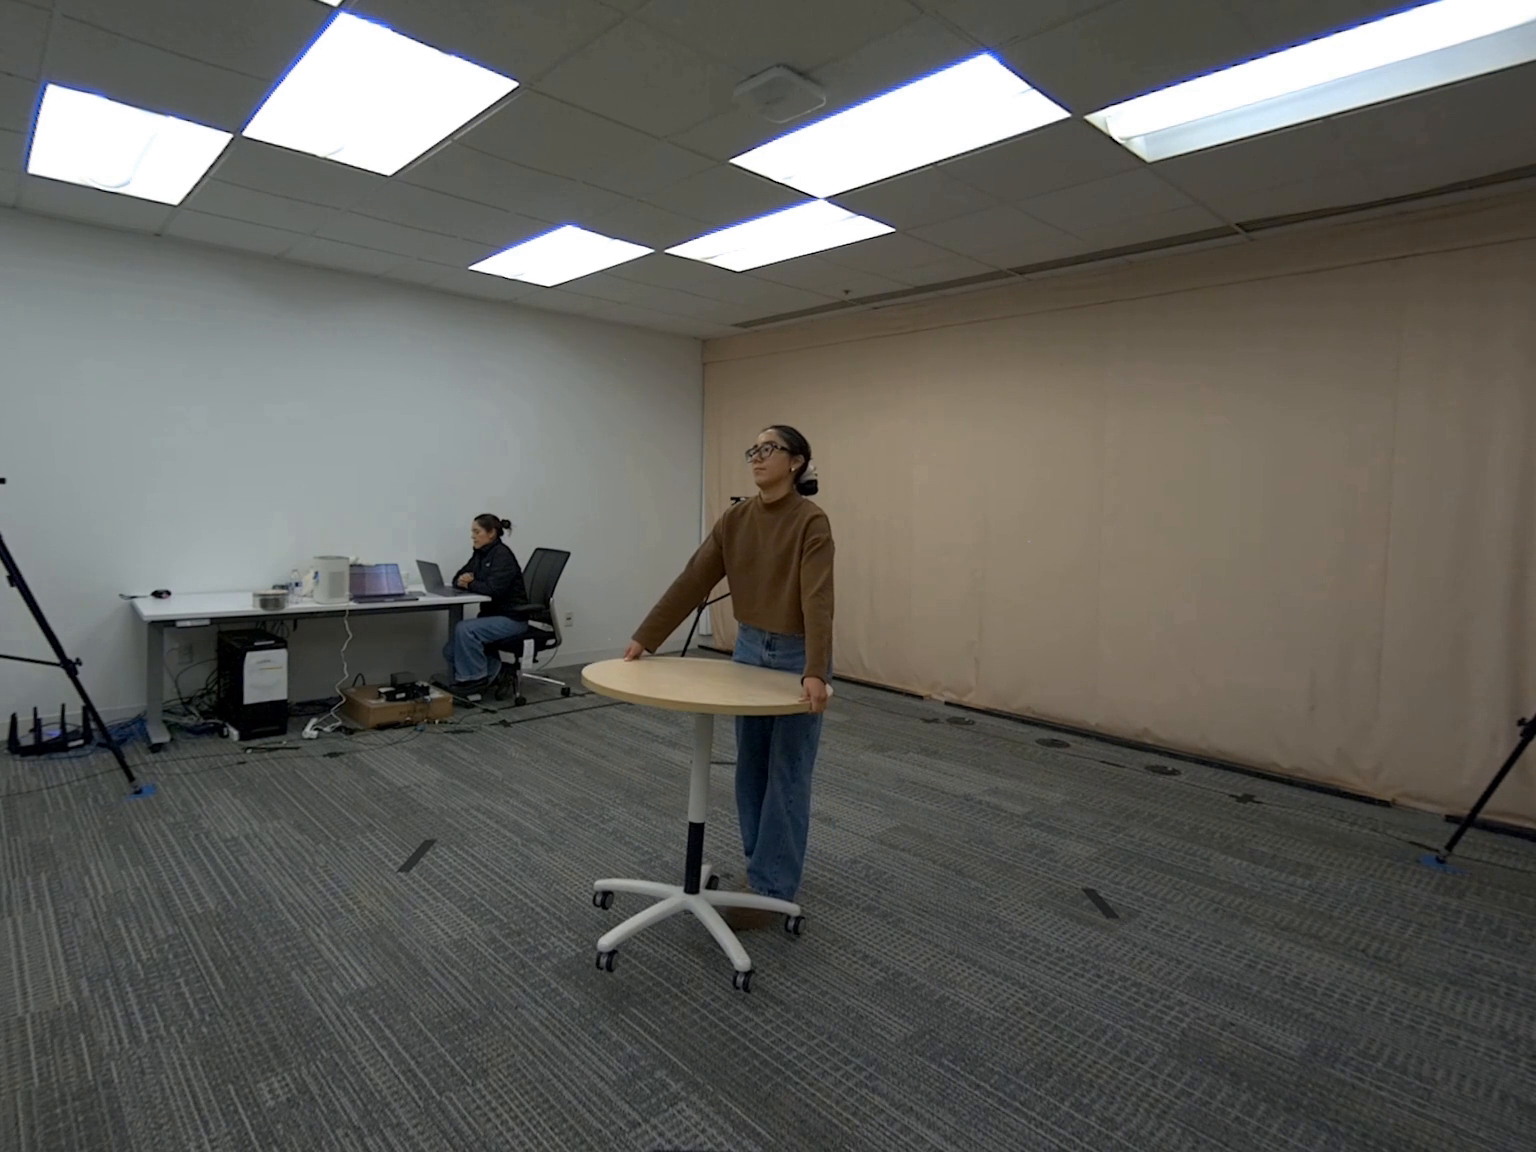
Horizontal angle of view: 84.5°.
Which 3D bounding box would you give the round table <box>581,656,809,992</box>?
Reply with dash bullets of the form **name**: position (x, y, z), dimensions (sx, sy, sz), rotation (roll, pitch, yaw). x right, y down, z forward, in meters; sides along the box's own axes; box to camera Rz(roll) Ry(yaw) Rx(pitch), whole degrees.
- **round table**: position (-0.222, 0.717, 2.570), dimensions (0.784, 0.786, 0.786), rotation (4, 2, -1)
